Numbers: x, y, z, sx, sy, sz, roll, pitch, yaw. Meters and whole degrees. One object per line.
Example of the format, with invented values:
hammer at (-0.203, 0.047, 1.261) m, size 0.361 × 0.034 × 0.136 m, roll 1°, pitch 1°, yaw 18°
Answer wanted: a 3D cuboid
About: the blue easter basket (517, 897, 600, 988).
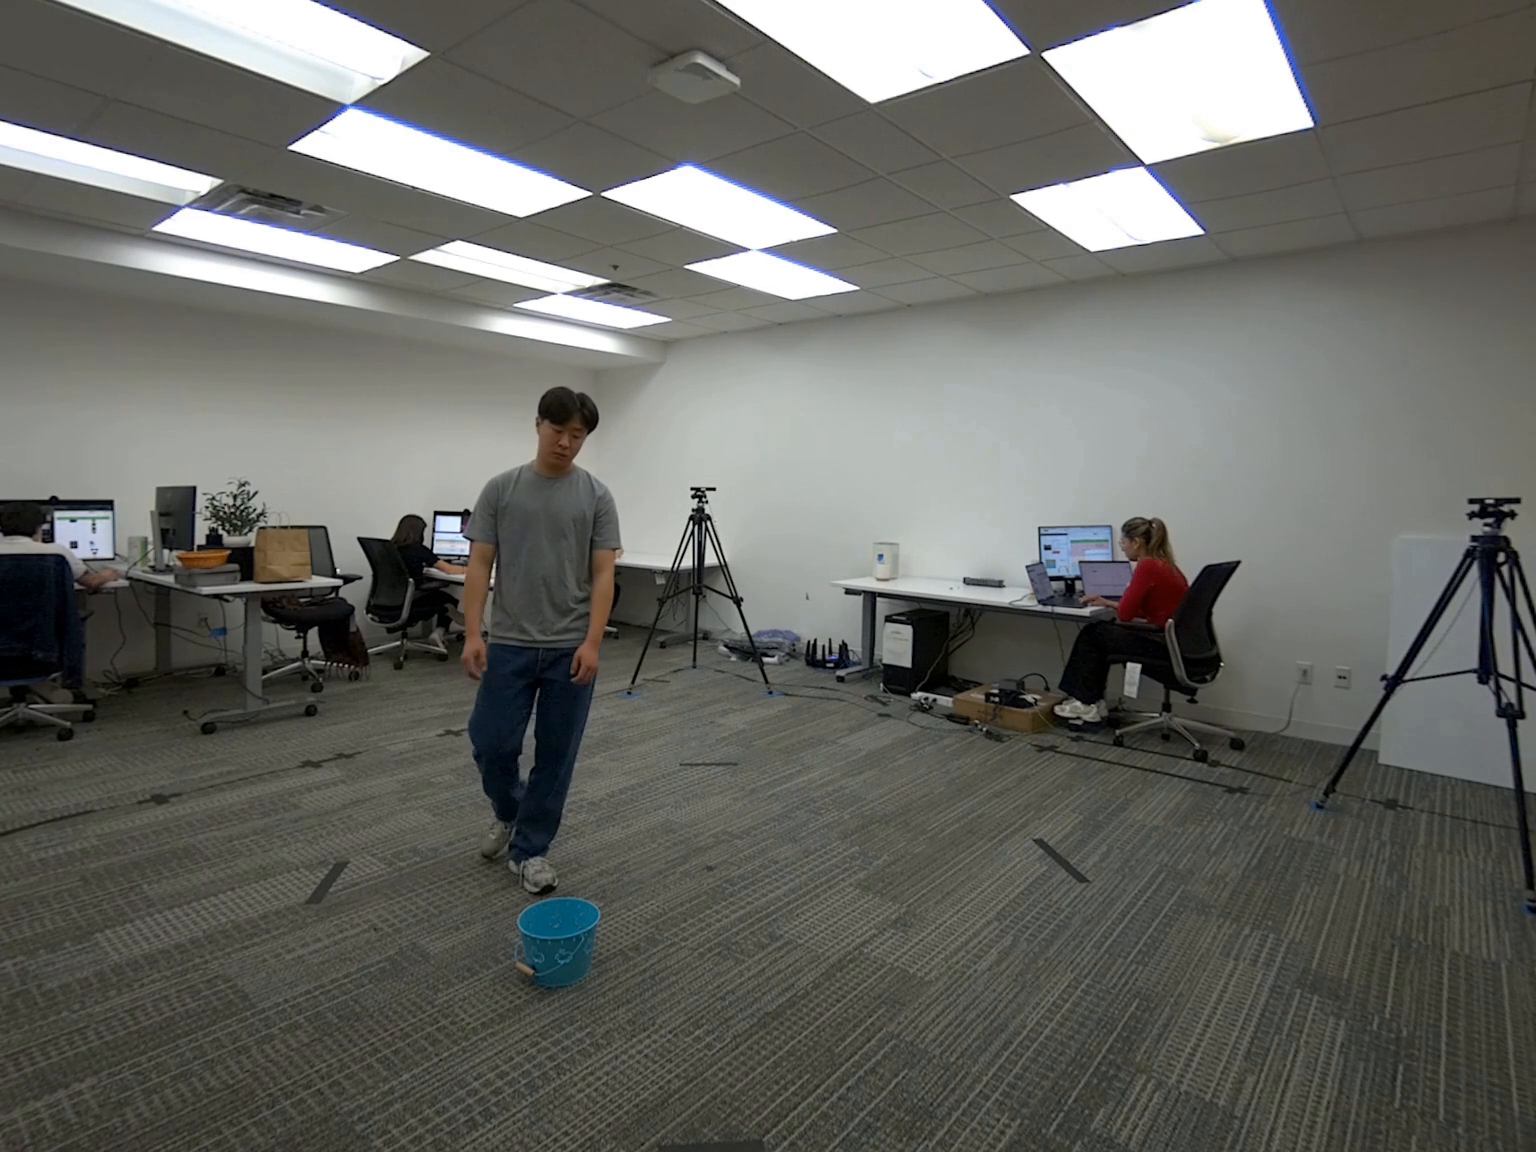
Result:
blue easter basket at (-0.612, 1.045, 2.440) m, size 0.243 × 0.155 × 0.245 m, roll 1°, pitch 5°, yaw -2°
